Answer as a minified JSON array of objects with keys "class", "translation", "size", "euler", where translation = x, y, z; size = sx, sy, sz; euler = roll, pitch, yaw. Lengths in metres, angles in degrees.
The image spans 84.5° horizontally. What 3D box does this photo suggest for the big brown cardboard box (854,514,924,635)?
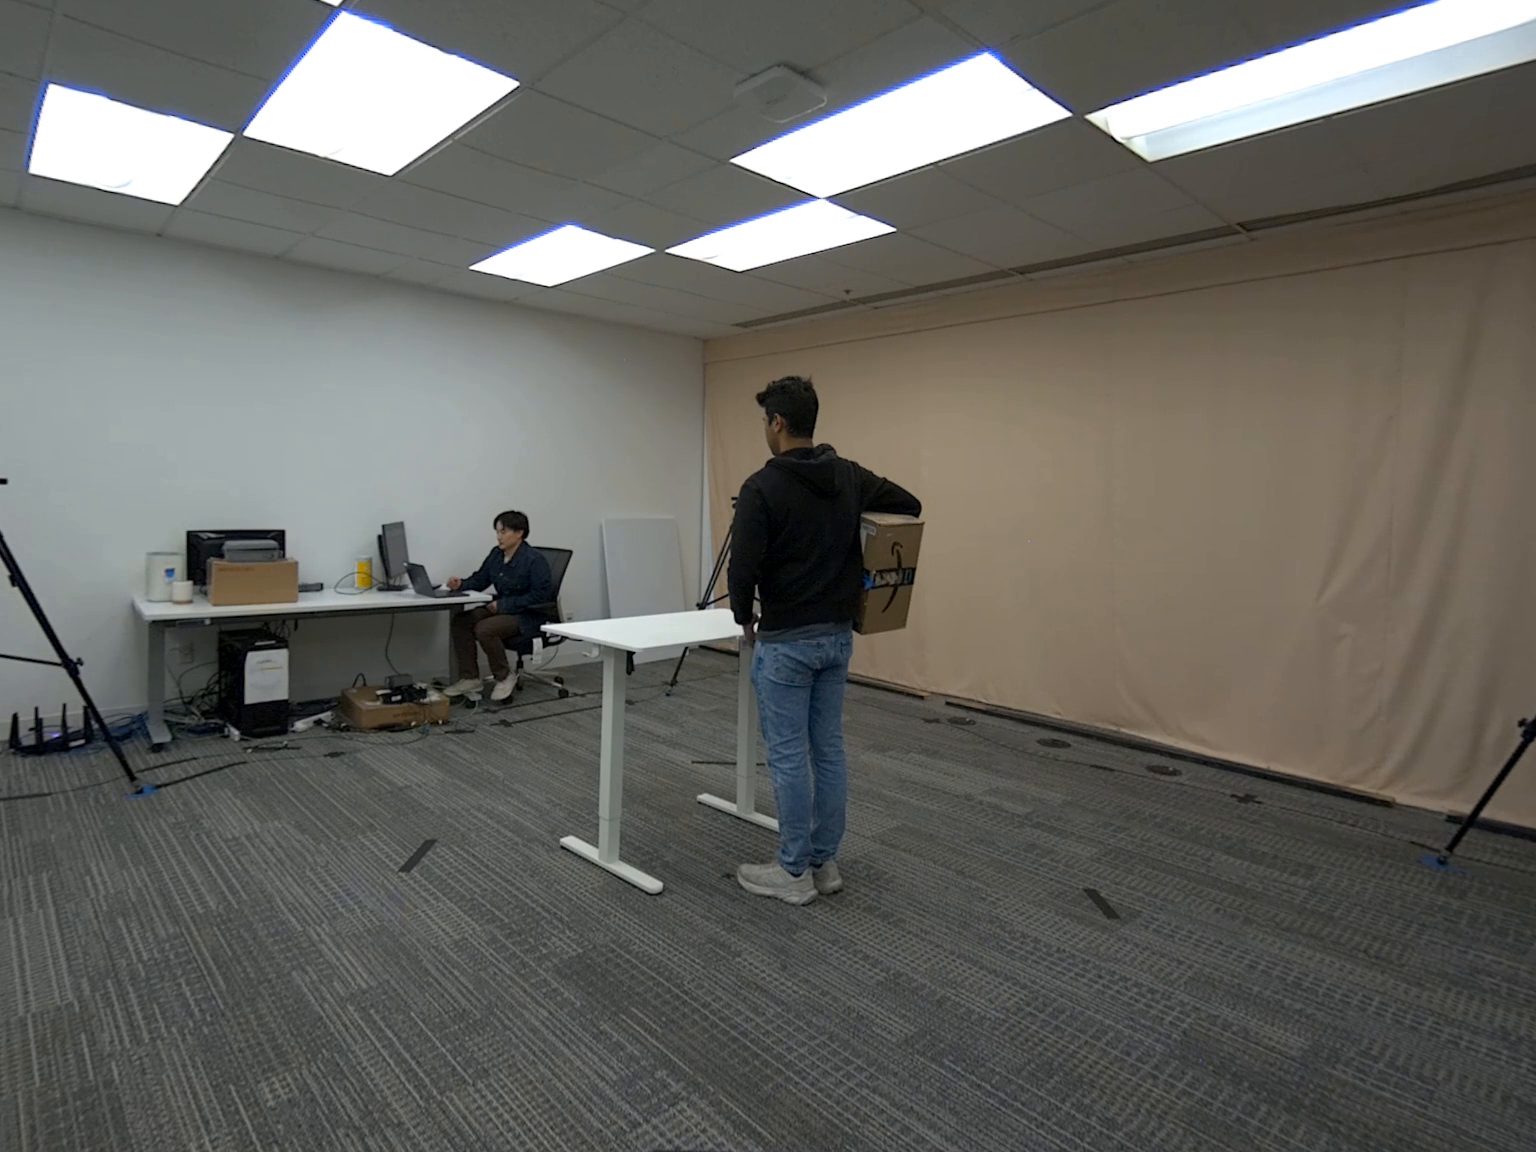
[{"class":"big brown cardboard box","translation":[0.283,-0.076,3.195],"size":[0.228,0.413,0.607],"euler":[-4,20,-32]}]
